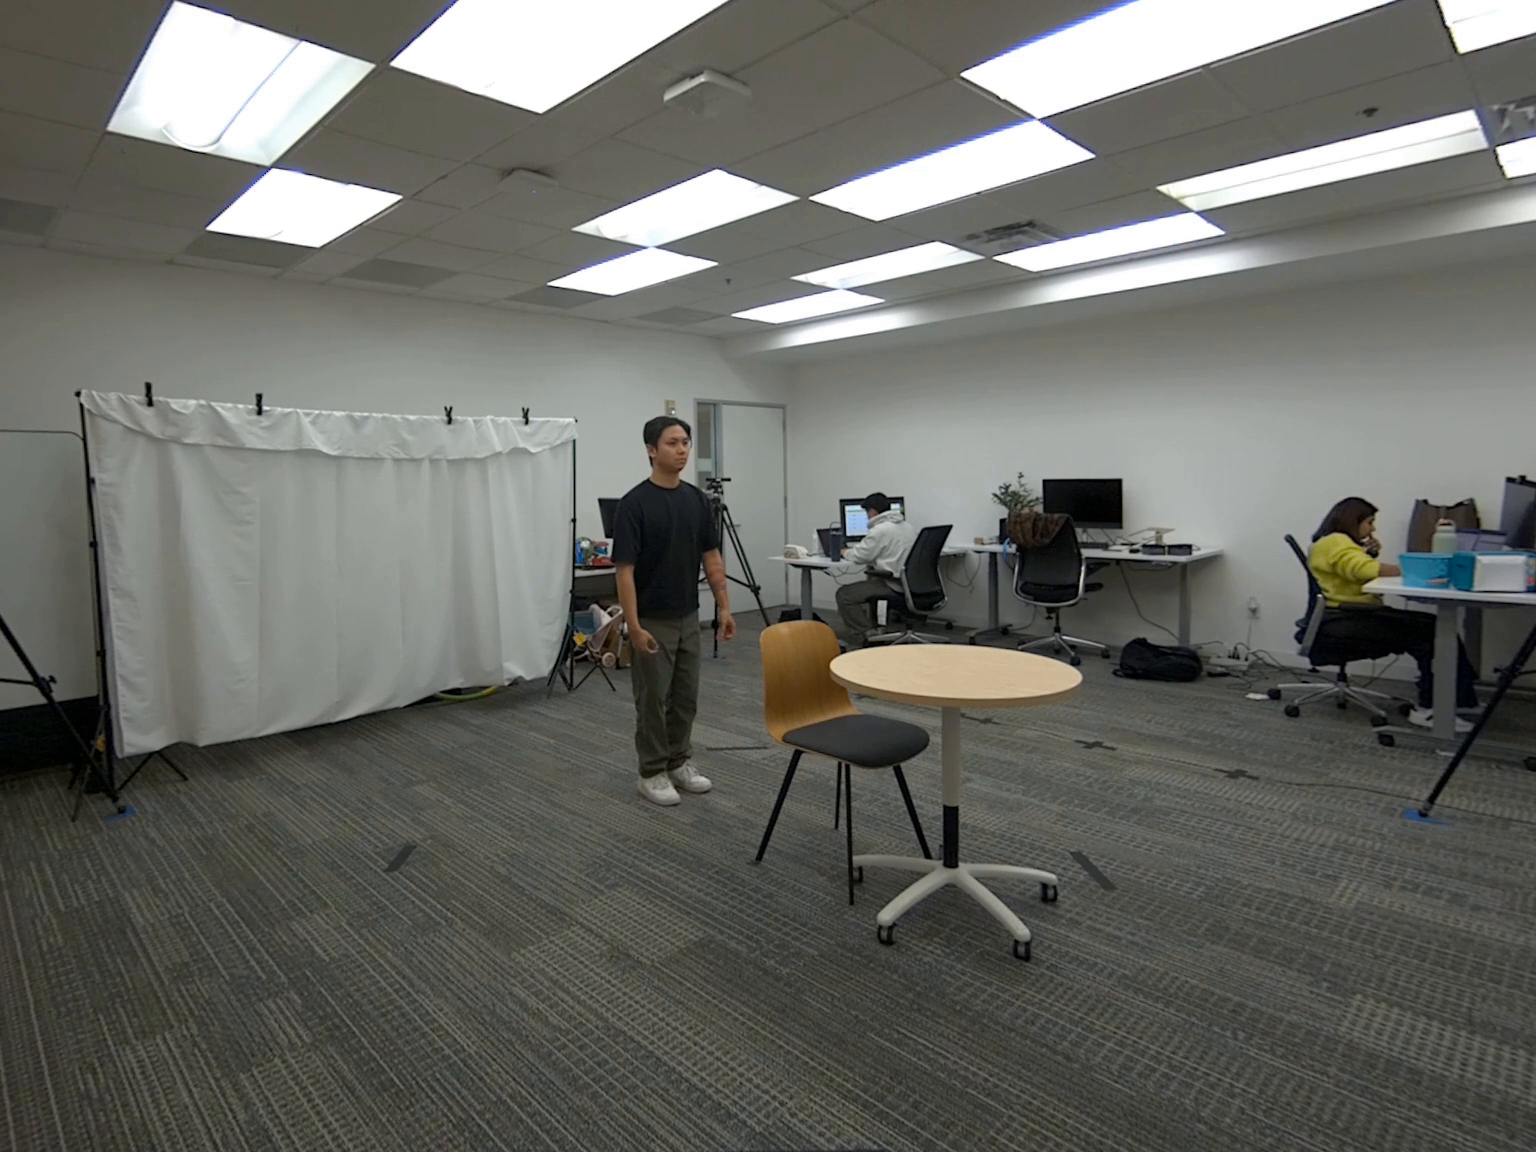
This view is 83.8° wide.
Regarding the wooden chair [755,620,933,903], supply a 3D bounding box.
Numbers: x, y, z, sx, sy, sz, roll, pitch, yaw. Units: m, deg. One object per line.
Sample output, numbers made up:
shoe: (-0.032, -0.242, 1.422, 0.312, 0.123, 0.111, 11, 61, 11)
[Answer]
wooden chair: (0.271, 0.617, 3.059, 0.465, 0.877, 0.538, -4, 1, -42)
